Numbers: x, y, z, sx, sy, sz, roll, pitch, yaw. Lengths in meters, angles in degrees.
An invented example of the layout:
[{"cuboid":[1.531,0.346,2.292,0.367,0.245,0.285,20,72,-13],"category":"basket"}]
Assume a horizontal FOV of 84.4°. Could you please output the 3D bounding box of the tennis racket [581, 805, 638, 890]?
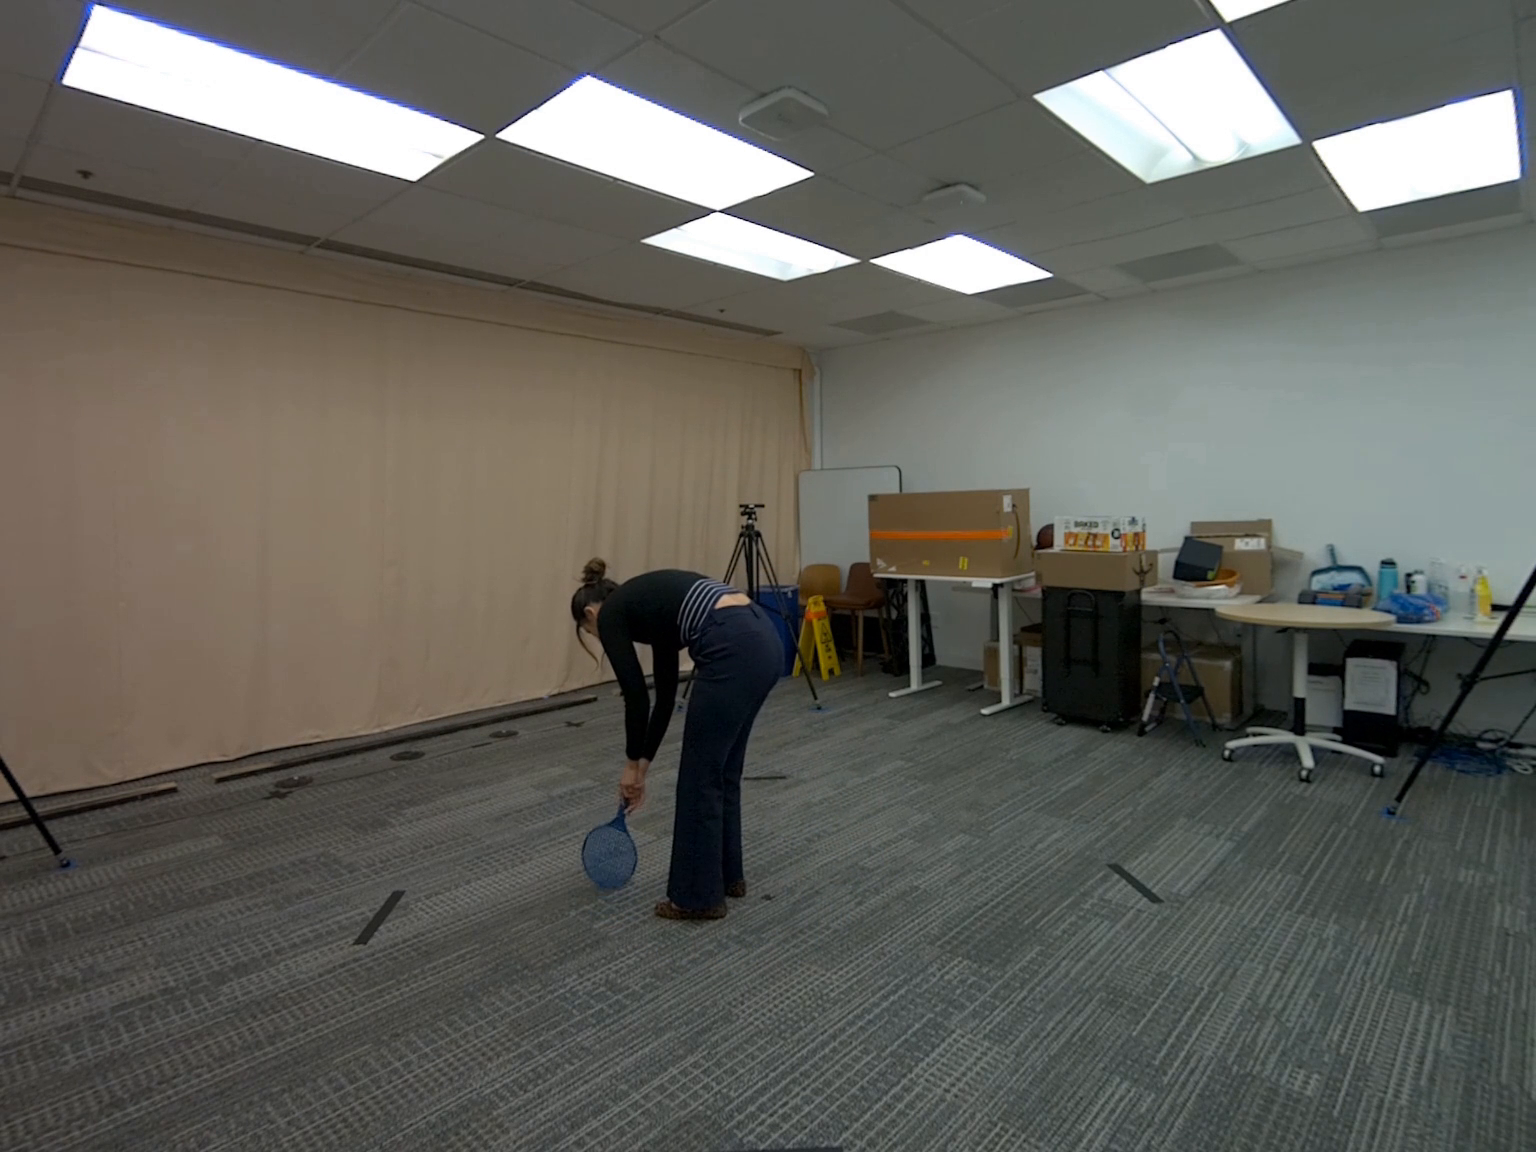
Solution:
[{"cuboid":[-0.555,0.942,3.046,0.215,0.430,0.032,14,14,4],"category":"tennis racket"}]
